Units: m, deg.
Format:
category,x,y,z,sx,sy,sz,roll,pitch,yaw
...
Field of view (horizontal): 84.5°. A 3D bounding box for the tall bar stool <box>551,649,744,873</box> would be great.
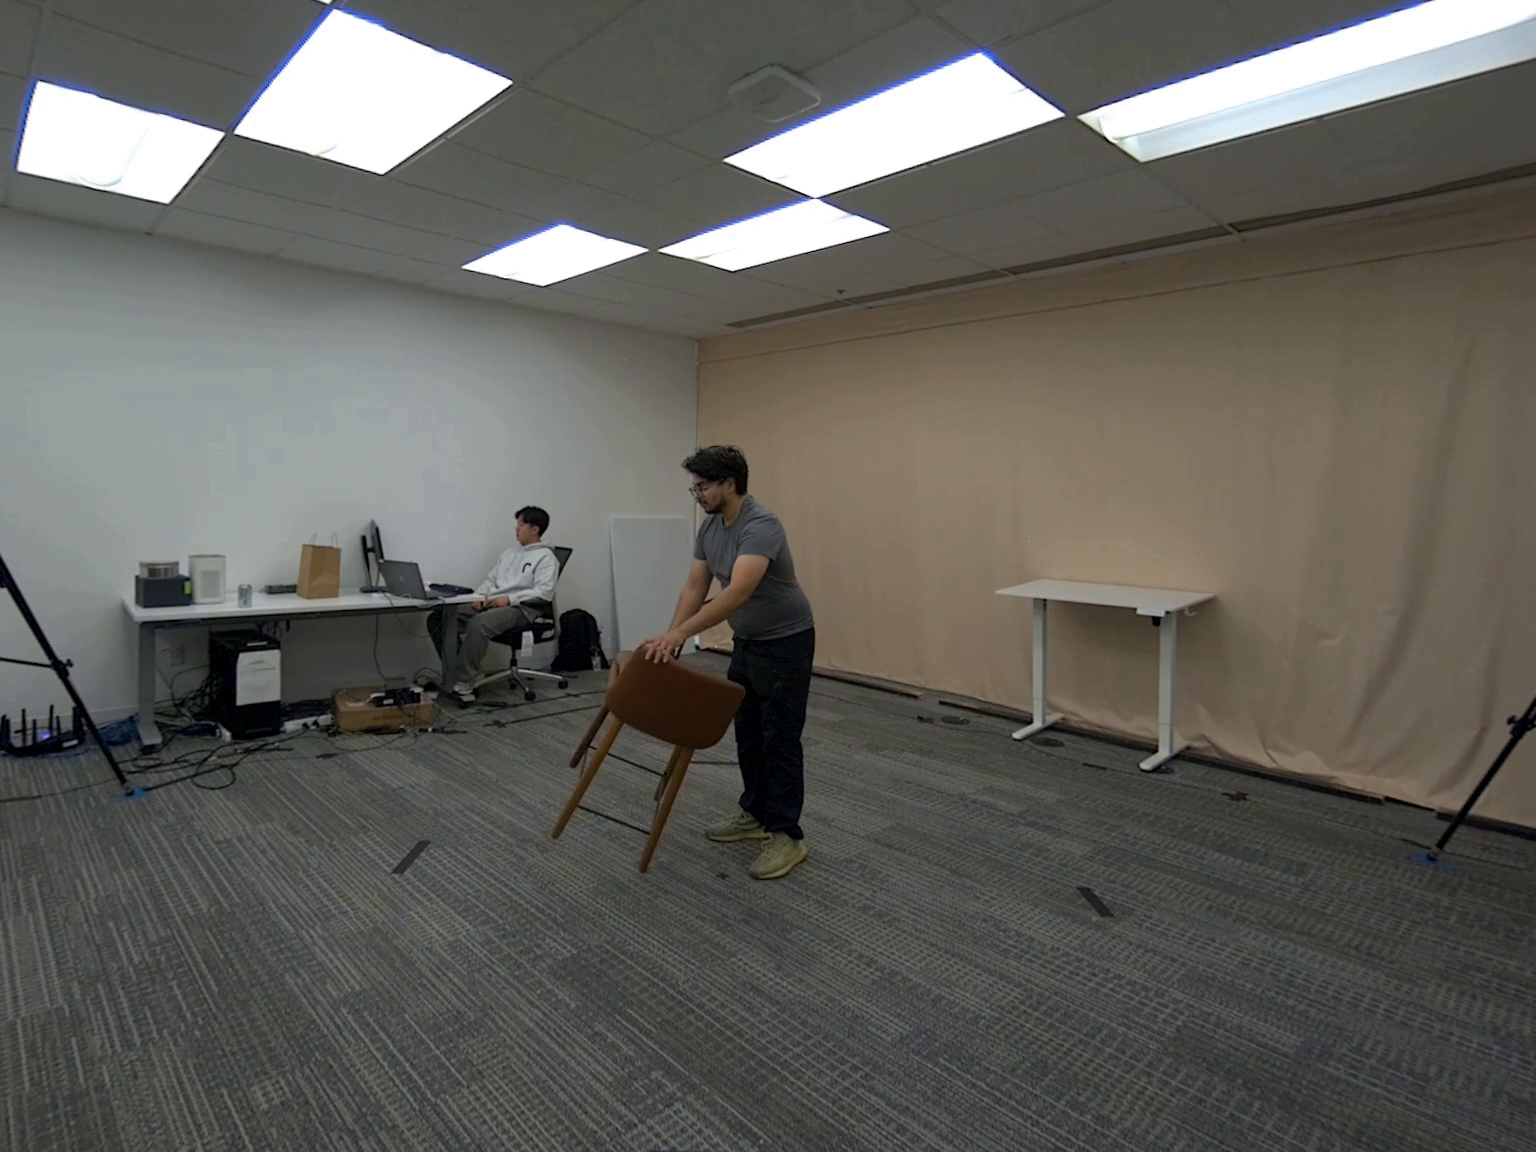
category,x,y,z,sx,sy,sz,roll,pitch,yaw
tall bar stool,-0.459,0.587,3.156,0.452,0.884,0.475,23,20,-10
